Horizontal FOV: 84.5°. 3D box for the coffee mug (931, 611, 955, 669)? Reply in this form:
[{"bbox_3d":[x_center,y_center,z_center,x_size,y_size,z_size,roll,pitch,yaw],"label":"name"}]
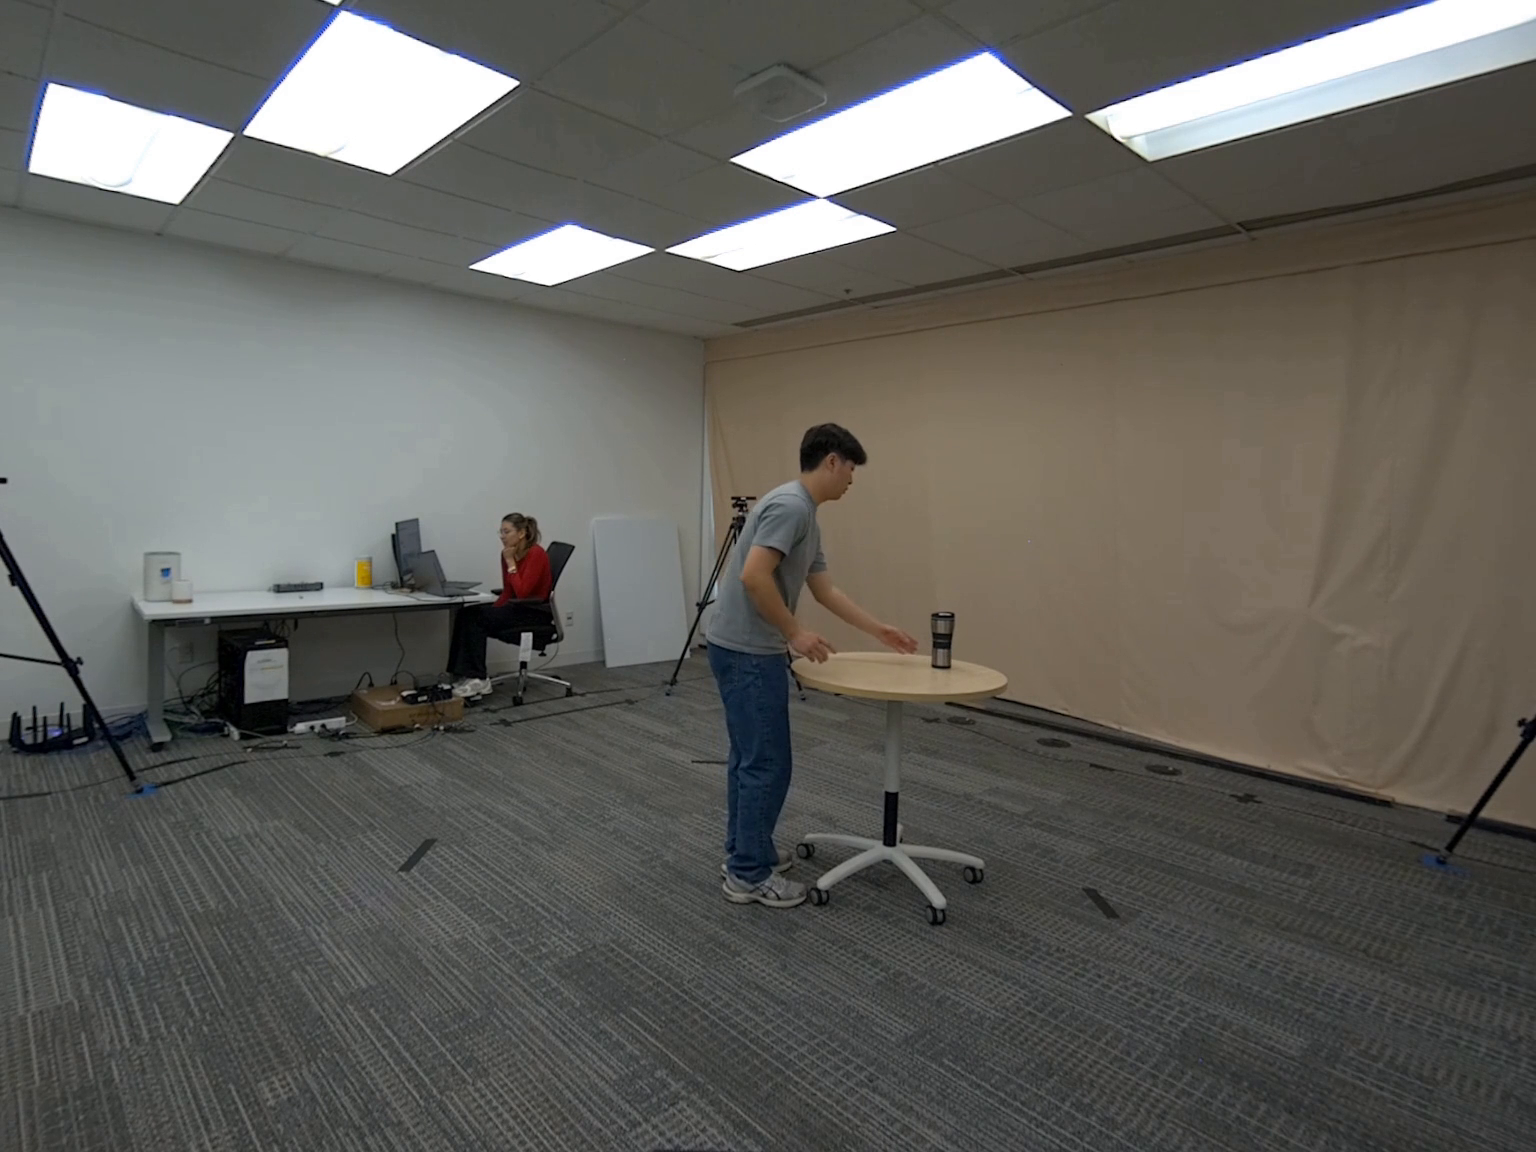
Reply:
[{"bbox_3d":[0.656,0.240,3.144,0.090,0.202,0.119,1,5,40],"label":"coffee mug"}]
